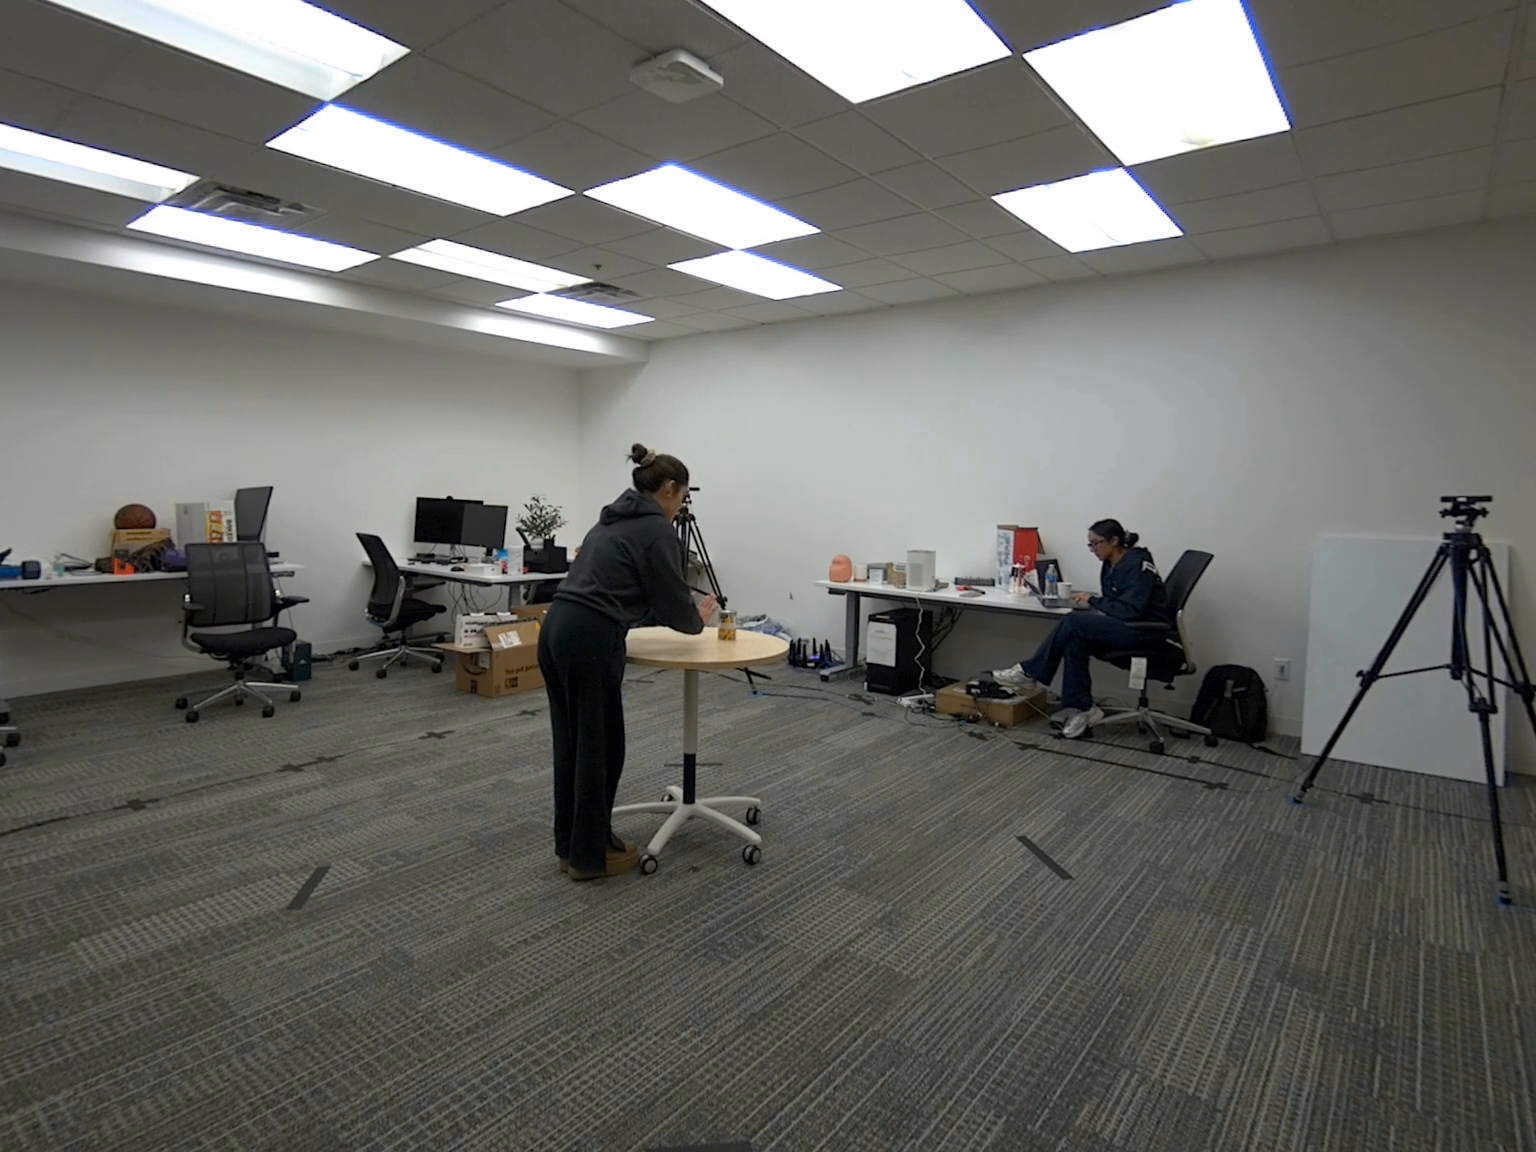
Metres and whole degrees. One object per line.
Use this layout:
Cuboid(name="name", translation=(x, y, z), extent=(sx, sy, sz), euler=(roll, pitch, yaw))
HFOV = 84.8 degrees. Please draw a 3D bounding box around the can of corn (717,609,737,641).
Cuboid(name="can of corn", translation=(-0.172, 0.196, 3.440), extent=(0.074, 0.111, 0.074), euler=(2, 3, -2))
